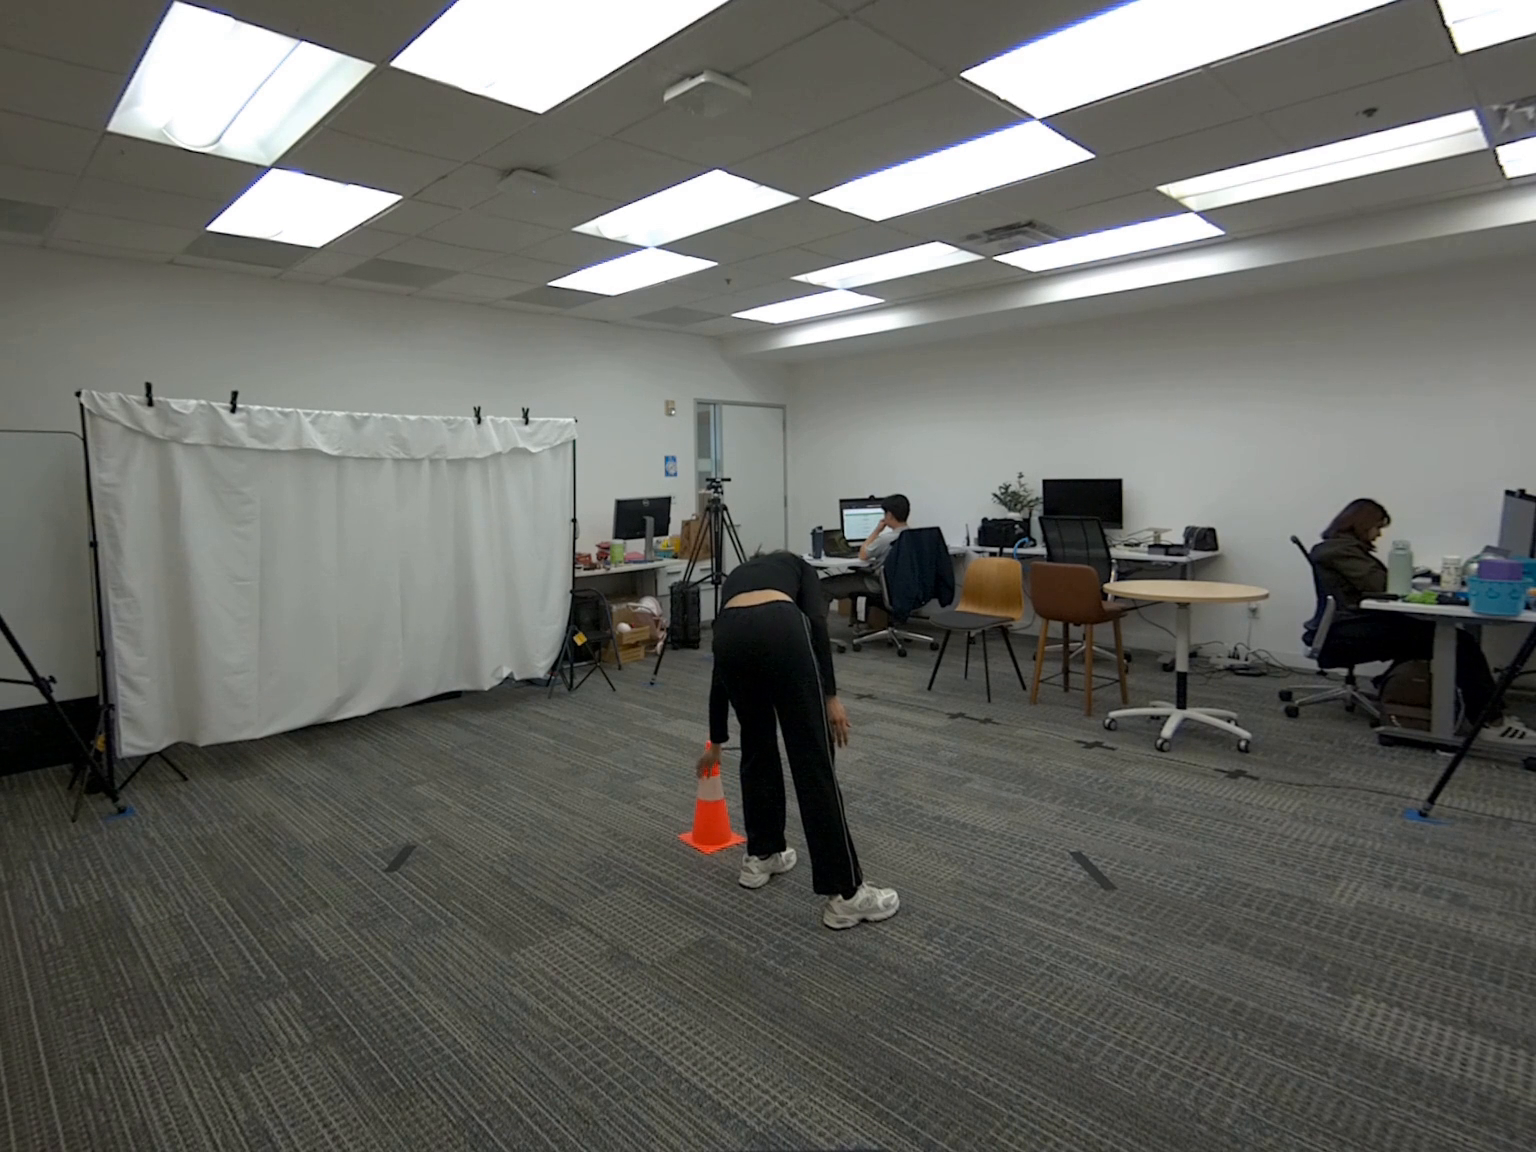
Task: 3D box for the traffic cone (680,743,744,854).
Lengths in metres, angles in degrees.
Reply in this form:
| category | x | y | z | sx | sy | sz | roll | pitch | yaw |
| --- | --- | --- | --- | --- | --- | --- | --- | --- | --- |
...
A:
| category | x | y | z | sx | sy | sz | roll | pitch | yaw |
| --- | --- | --- | --- | --- | --- | --- | --- | --- | --- |
| traffic cone | -0.217 | 0.837 | 3.313 | 0.200 | 0.382 | 0.209 | -4 | 6 | -36 |
